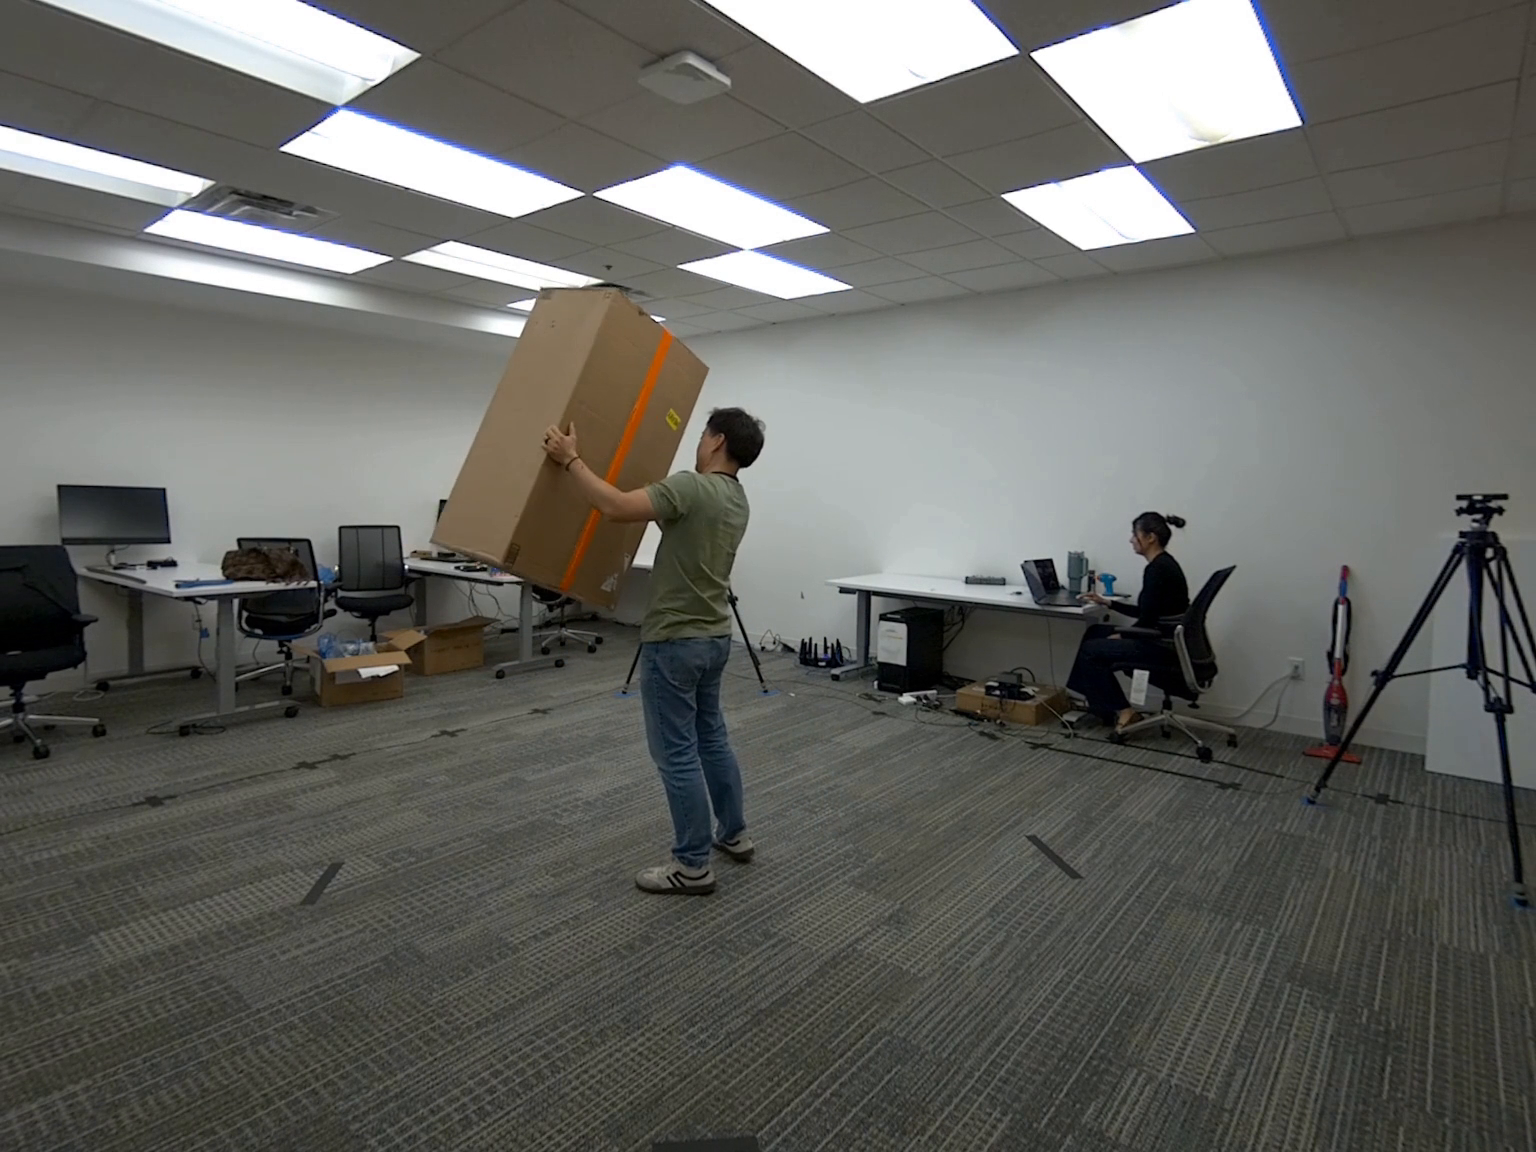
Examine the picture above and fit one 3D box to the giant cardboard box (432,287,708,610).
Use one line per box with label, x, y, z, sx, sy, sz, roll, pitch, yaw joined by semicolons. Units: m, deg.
giant cardboard box;-0.721;-0.467;3.157;0.442;1.031;0.554;13;-11;36
